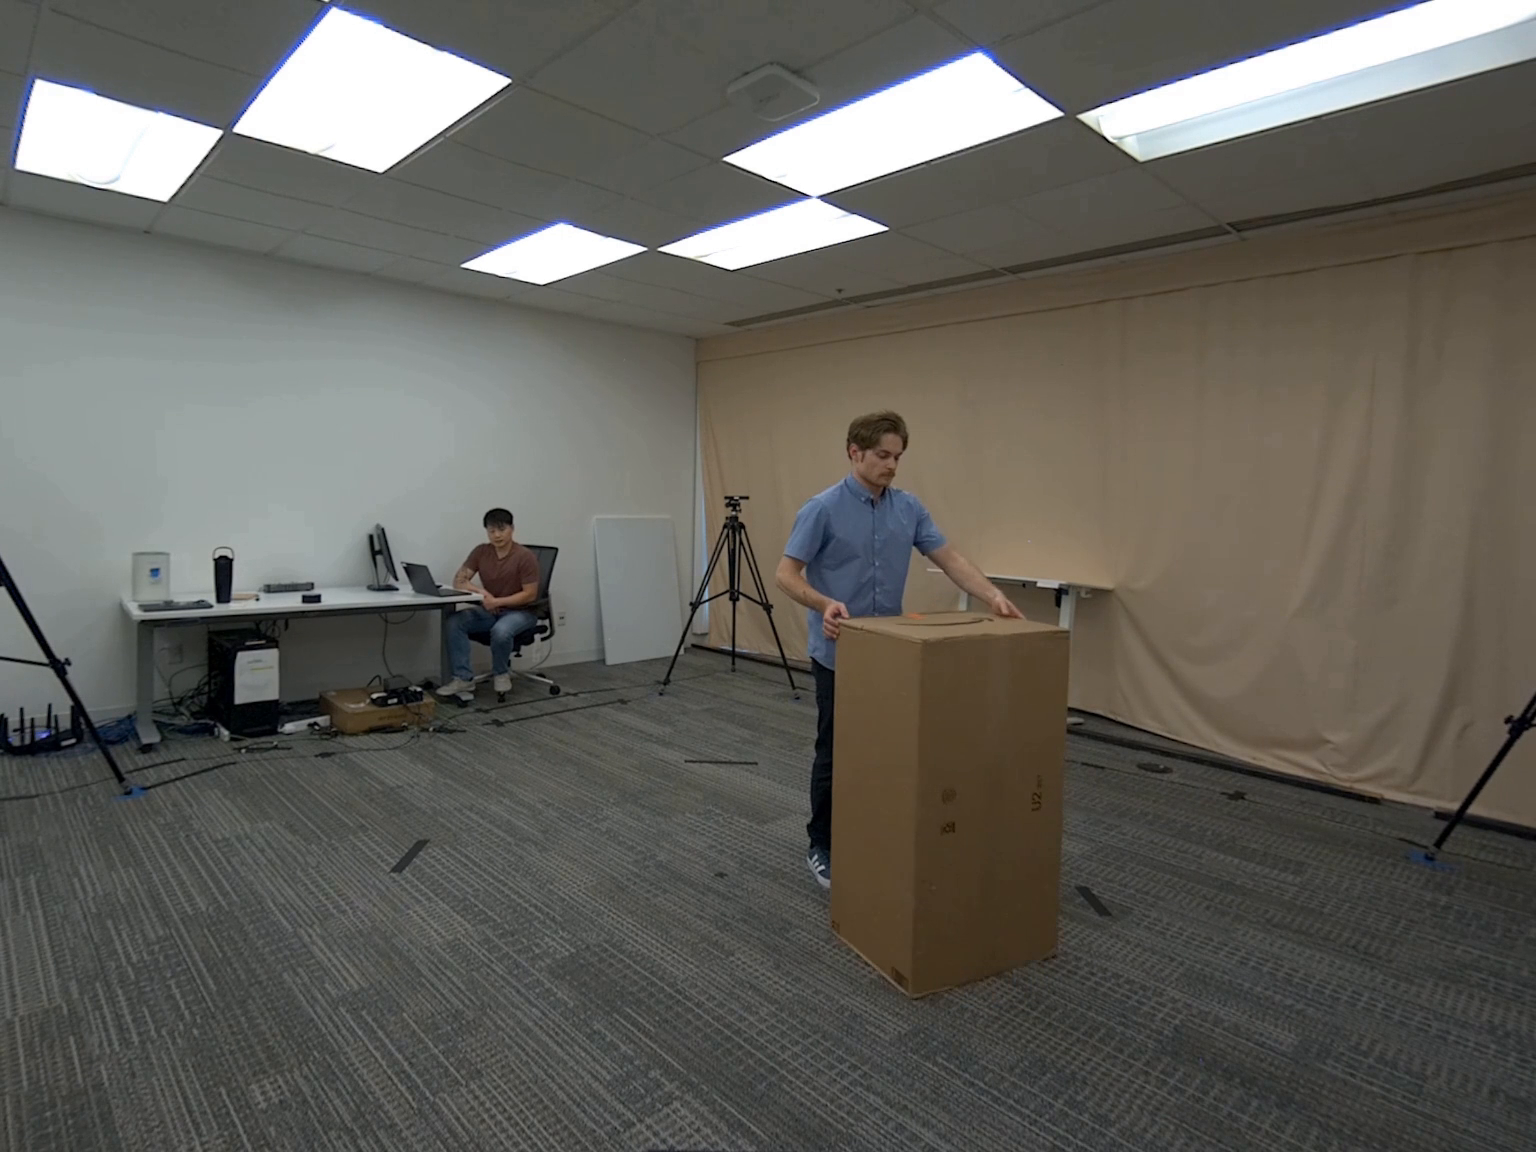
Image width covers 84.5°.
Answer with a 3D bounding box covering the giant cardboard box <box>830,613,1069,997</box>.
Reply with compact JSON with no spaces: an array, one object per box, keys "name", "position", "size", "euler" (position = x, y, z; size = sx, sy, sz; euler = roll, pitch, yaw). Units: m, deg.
[{"name":"giant cardboard box","position":[0.552,0.657,2.634],"size":[0.566,1.023,0.435],"euler":[-1,4,-28]}]
